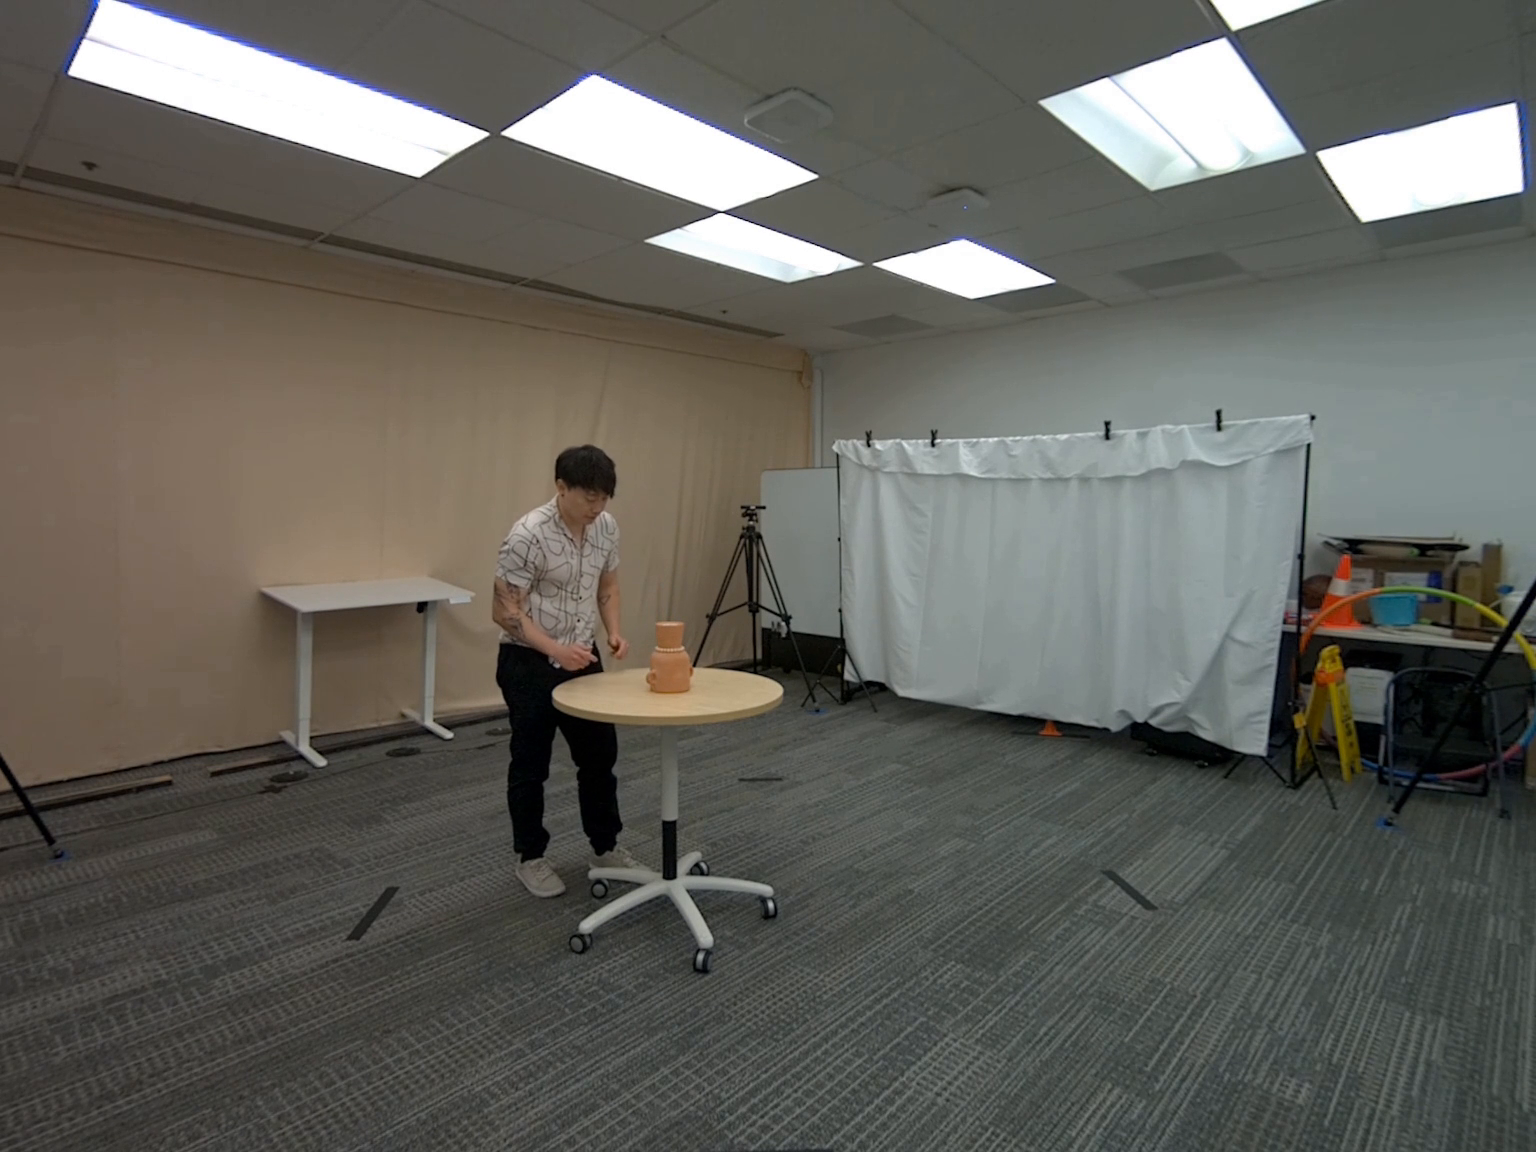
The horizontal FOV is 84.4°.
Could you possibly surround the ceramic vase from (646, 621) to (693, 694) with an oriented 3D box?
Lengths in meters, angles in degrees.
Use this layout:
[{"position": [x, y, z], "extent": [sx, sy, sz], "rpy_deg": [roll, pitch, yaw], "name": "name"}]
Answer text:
[{"position": [-0.316, 0.267, 2.799], "extent": [0.136, 0.219, 0.157], "rpy_deg": [1, 3, 8], "name": "ceramic vase"}]
